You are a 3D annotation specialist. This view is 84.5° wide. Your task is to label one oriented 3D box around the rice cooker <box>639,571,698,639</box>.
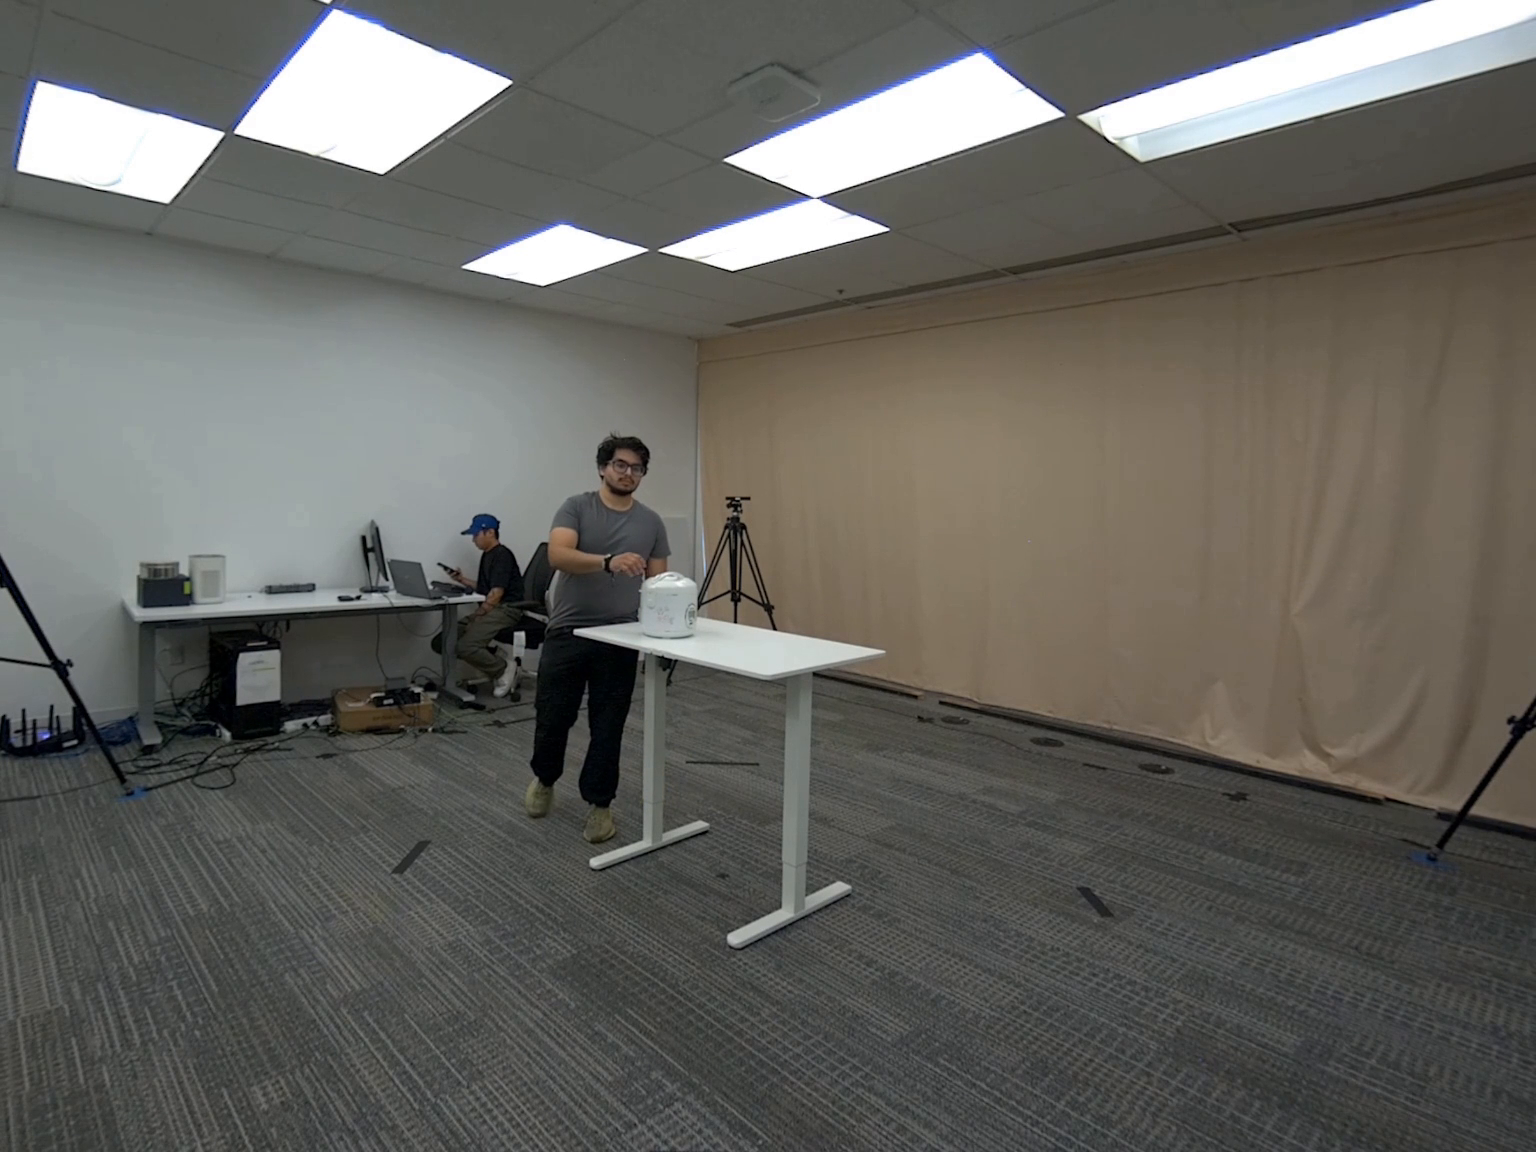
[{"bbox_3d":[-0.369,0.103,3.094,0.222,0.232,0.216,3,5,35],"label":"rice cooker"}]
